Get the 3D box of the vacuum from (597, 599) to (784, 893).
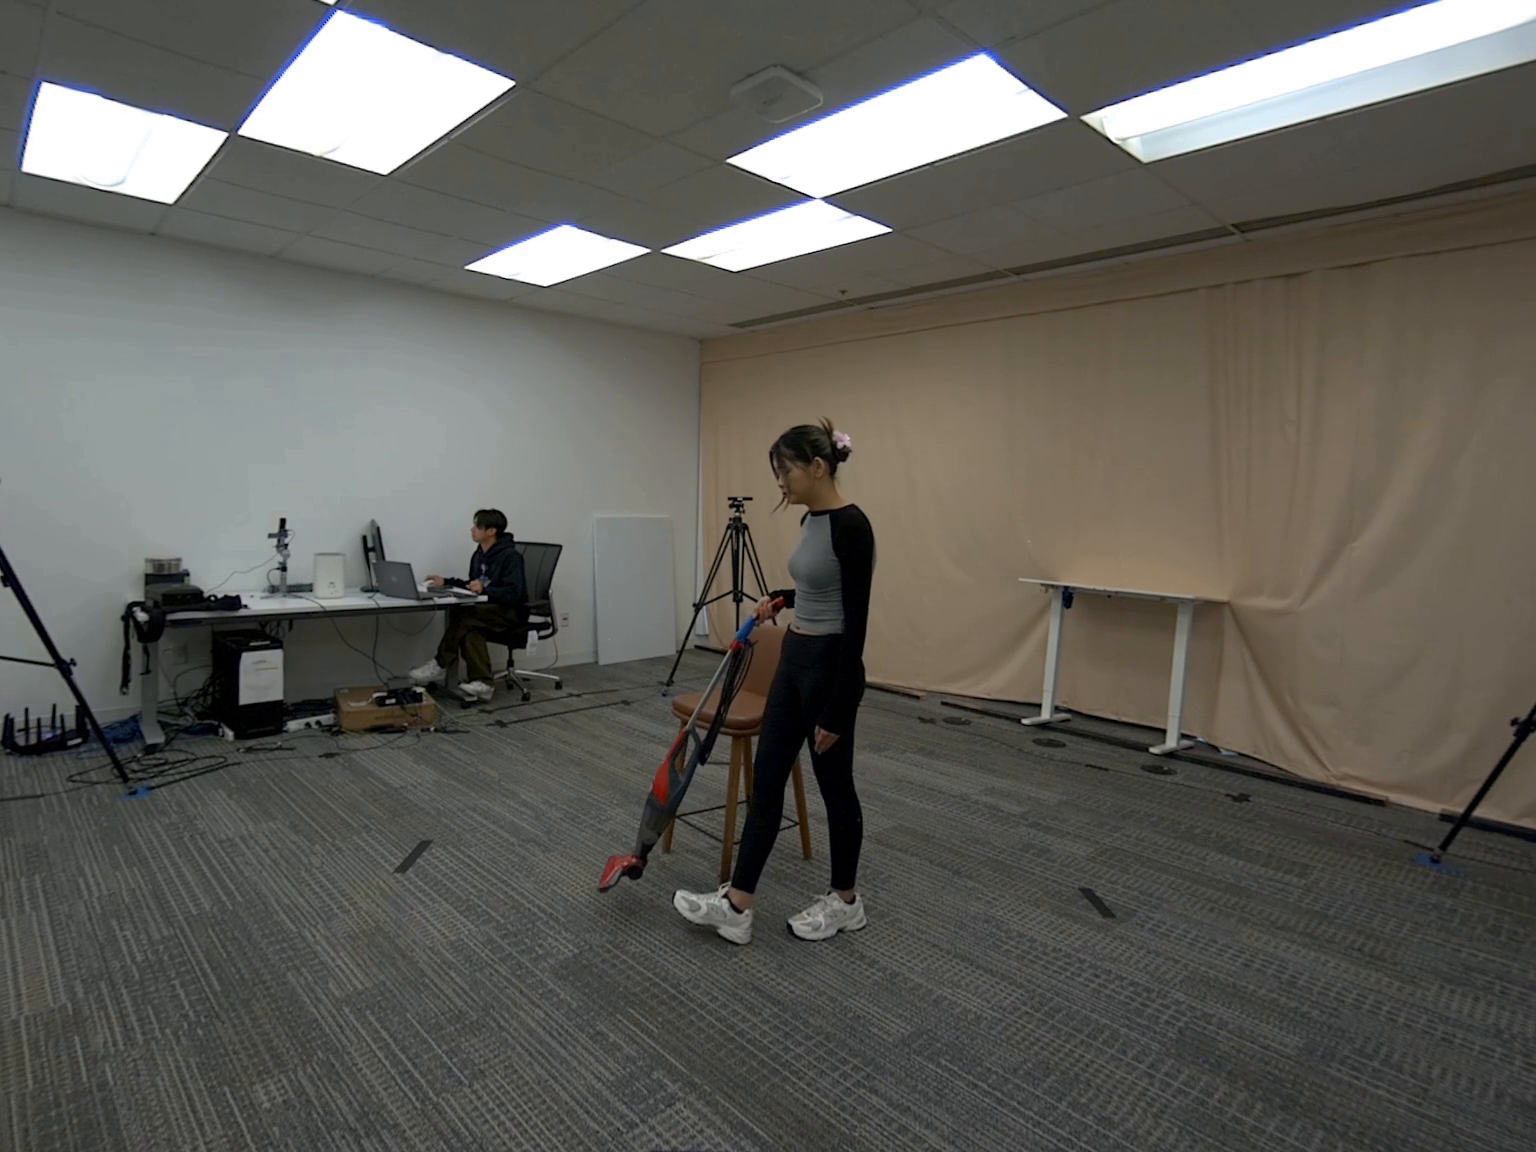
[{"bbox_3d":[-0.246,0.538,2.813,0.144,1.049,0.252,29,0,0],"label":"vacuum"}]
